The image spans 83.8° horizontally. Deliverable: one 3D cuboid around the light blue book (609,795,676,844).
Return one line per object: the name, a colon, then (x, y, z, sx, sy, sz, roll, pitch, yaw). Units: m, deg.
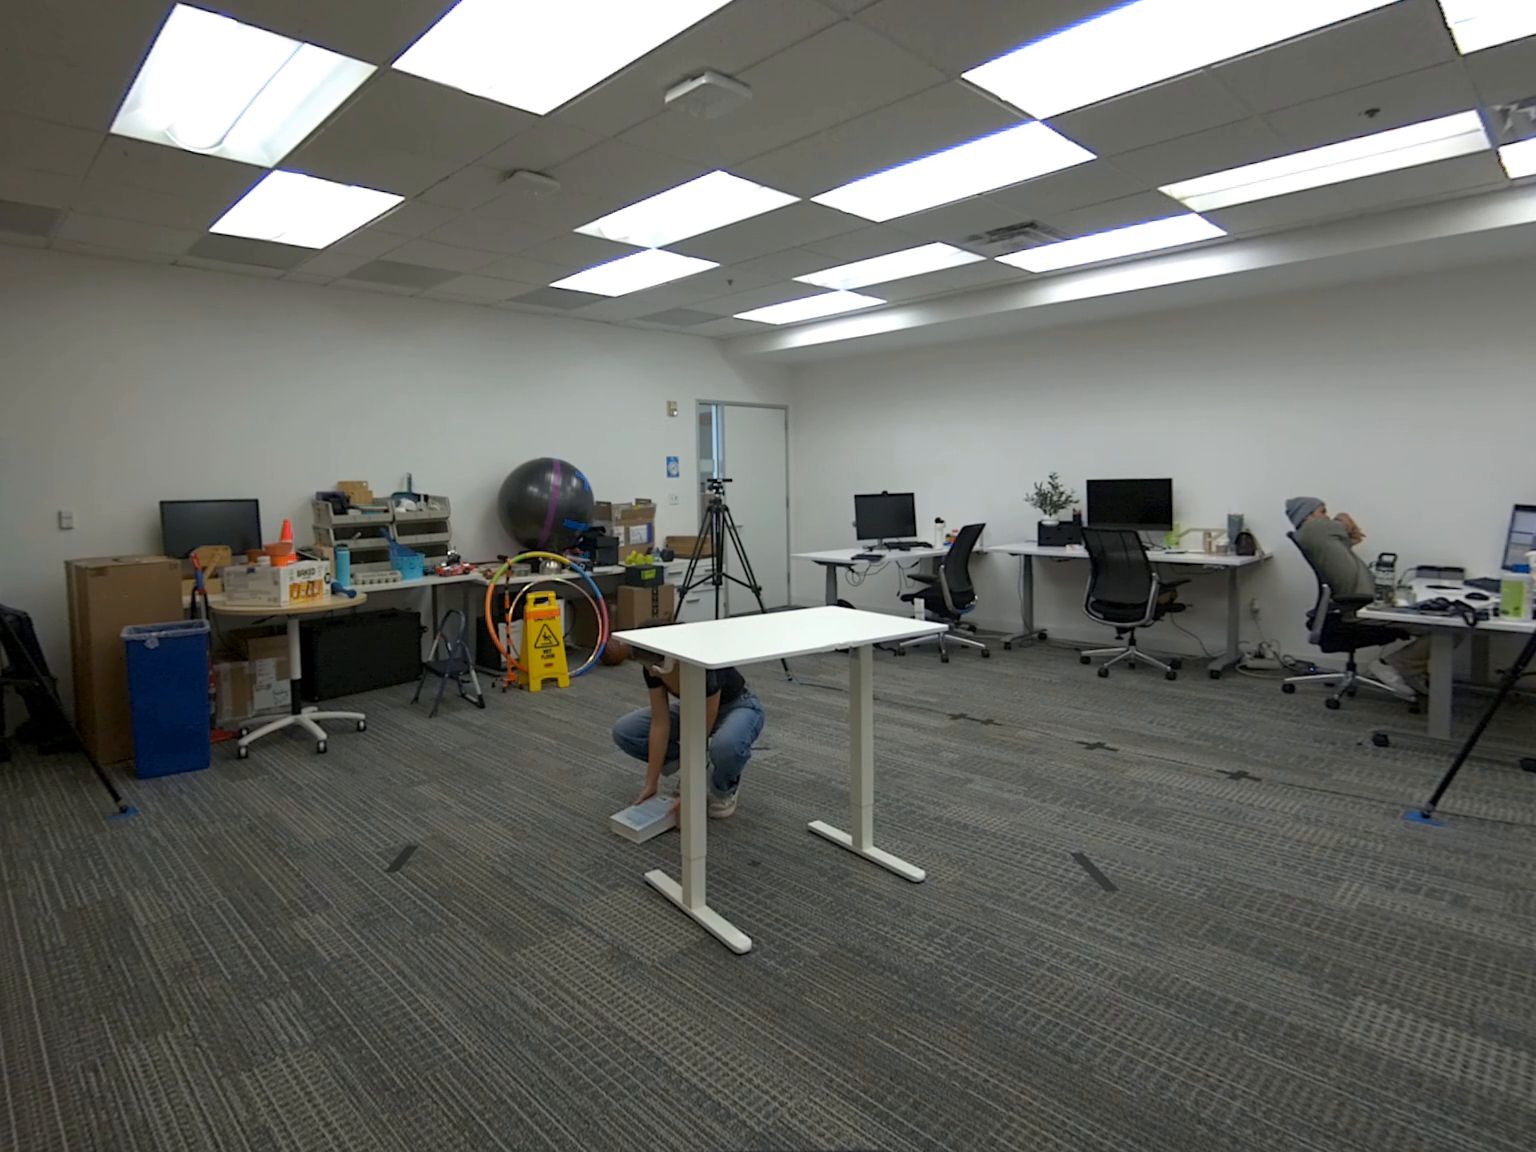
light blue book: (-0.489, 0.980, 3.445, 0.255, 0.058, 0.197, -17, 15, -42)
